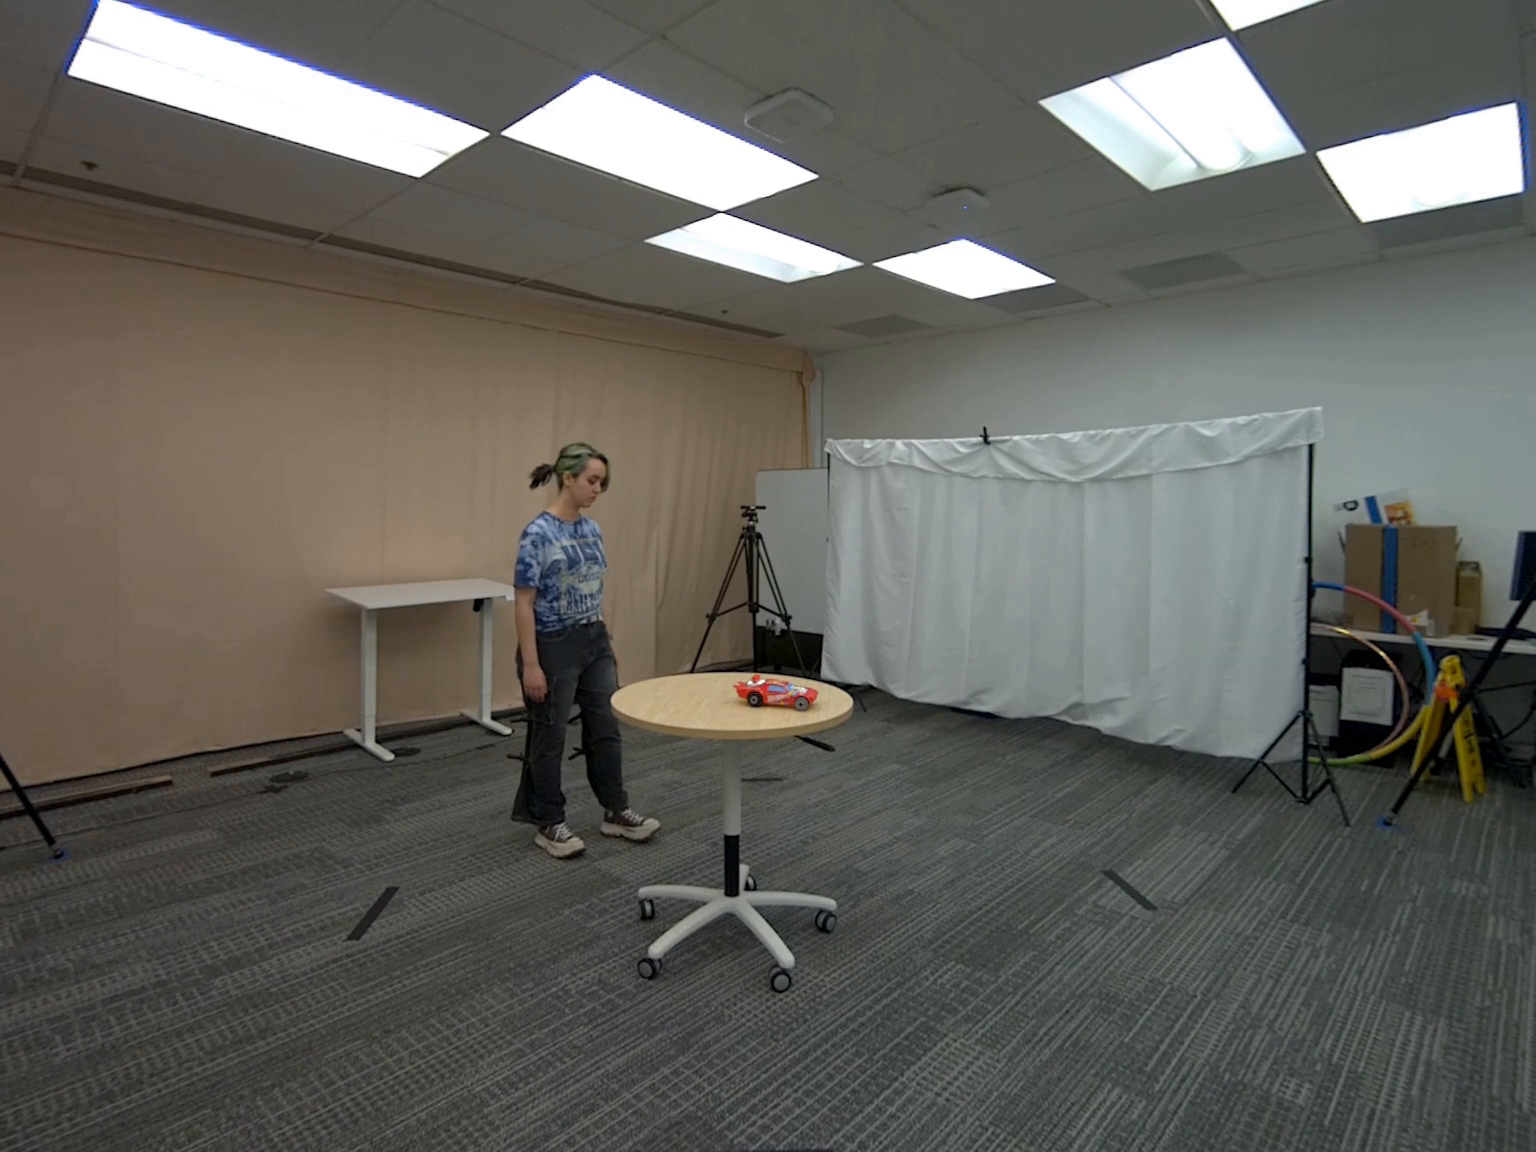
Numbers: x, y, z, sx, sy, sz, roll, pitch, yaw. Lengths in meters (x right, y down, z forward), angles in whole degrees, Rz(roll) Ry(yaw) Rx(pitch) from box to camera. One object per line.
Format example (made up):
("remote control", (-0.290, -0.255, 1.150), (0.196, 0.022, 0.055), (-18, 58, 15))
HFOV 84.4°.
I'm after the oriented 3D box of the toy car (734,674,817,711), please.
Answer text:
("toy car", (0.026, 0.365, 2.580), (0.259, 0.083, 0.128), (13, 7, 15))
